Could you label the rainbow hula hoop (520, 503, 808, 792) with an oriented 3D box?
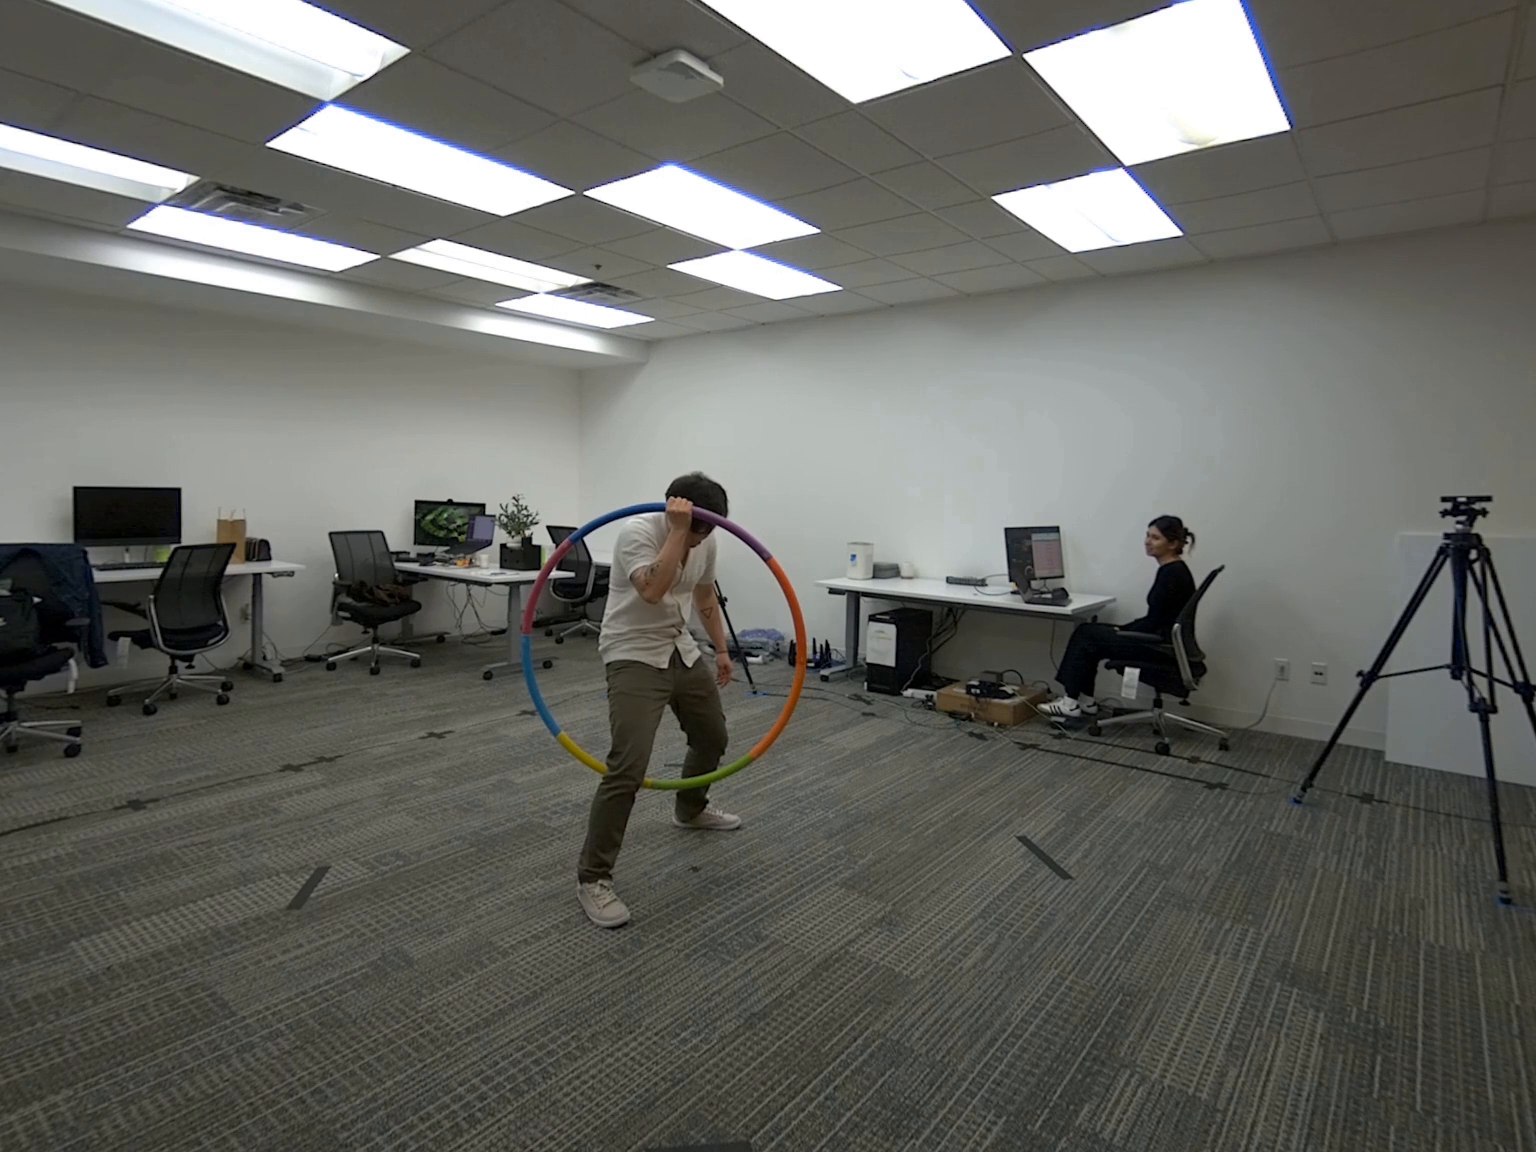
[{"bbox_3d":[-0.370,0.240,2.890,0.984,0.973,0.035,1,5,5],"label":"rainbow hula hoop"}]
